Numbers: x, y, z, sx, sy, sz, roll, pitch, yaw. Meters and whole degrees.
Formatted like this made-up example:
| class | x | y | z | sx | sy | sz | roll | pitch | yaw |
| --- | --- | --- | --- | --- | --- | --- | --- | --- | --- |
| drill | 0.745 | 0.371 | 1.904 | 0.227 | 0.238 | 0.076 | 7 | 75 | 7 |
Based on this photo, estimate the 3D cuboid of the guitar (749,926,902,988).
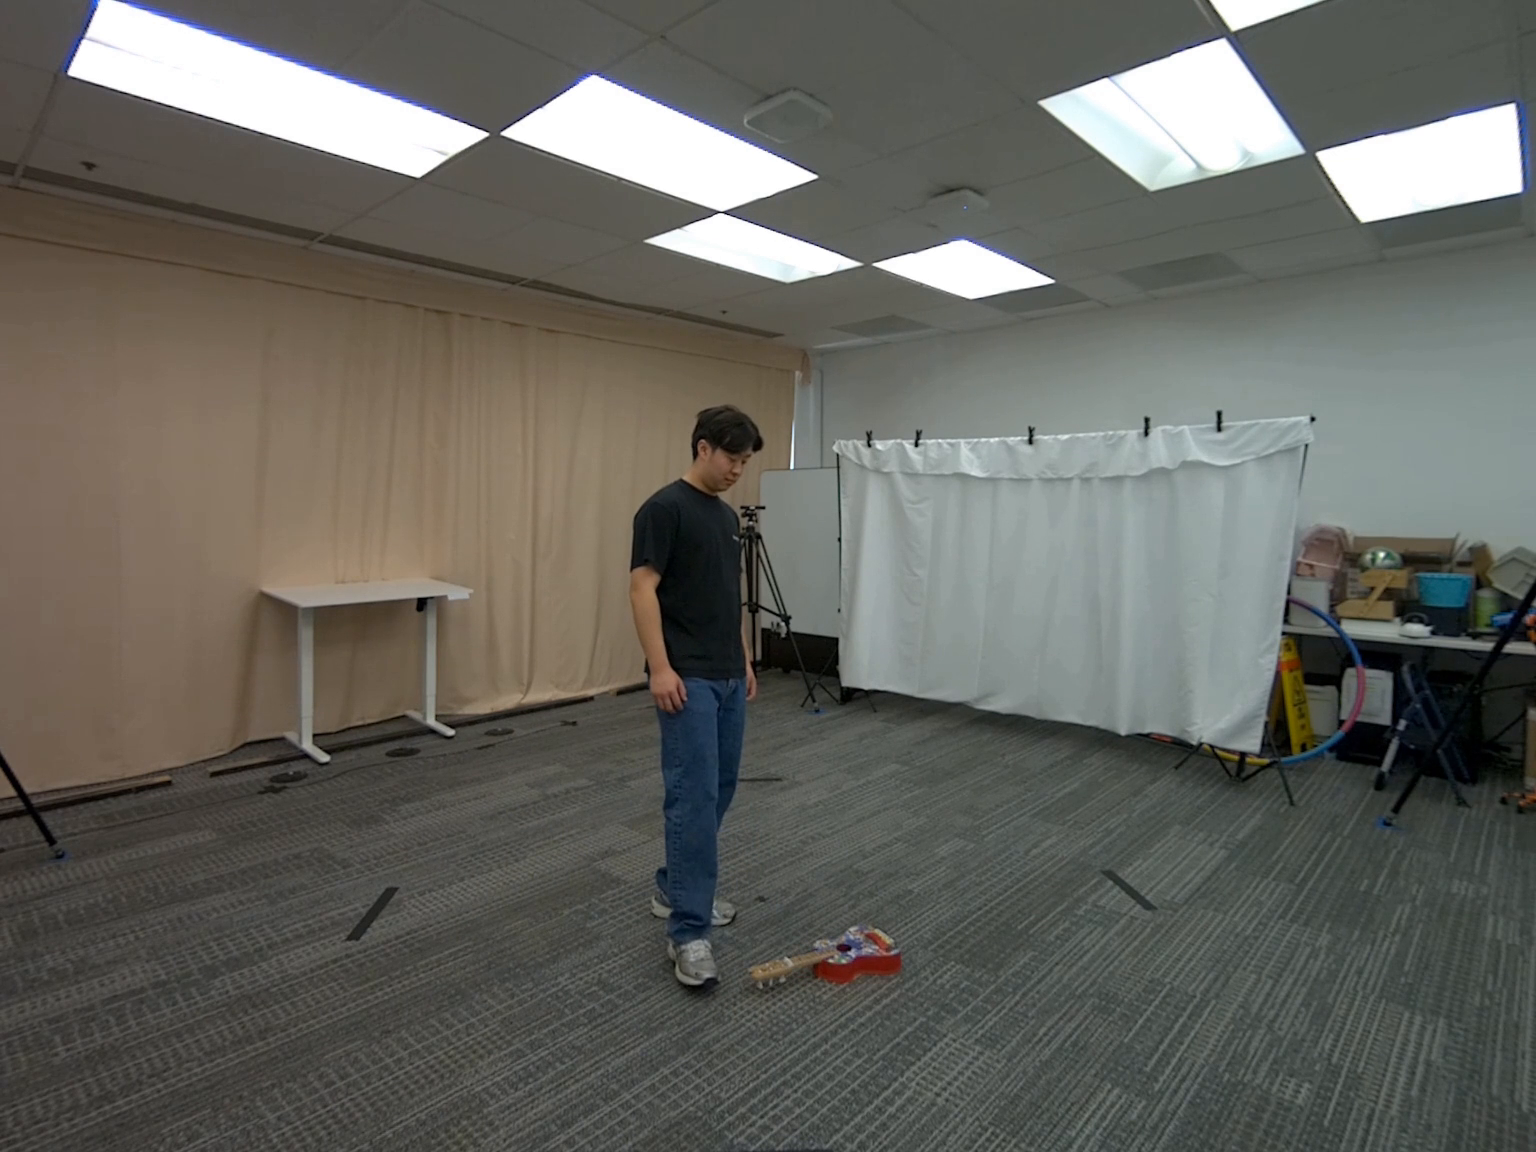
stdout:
| class | x | y | z | sx | sy | sz | roll | pitch | yaw |
| --- | --- | --- | --- | --- | --- | --- | --- | --- | --- |
| guitar | 0.159 | 1.149 | 2.529 | 0.488 | 0.070 | 0.197 | -1 | 6 | -19 |
